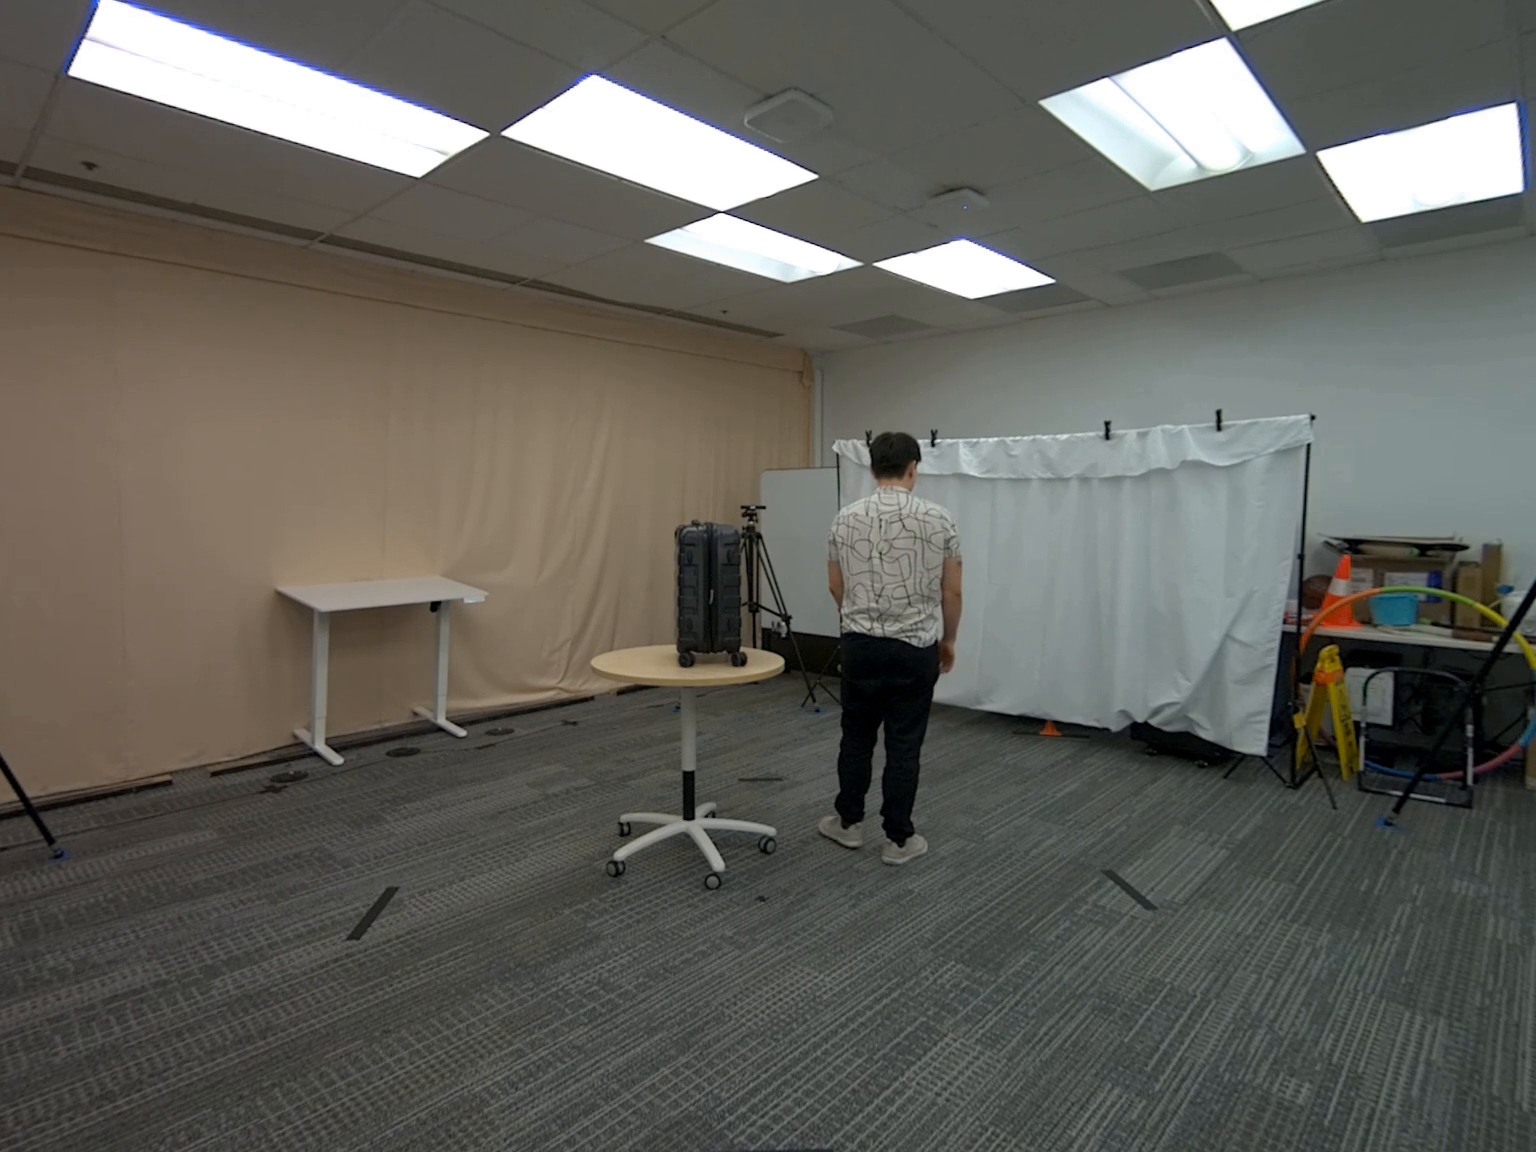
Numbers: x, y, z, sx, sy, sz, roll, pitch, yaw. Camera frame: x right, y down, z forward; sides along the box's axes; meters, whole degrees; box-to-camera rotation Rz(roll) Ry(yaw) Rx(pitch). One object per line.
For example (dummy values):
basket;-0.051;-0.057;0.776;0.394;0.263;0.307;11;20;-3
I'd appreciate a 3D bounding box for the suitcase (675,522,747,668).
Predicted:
suitcase;-0.229;0.056;3.358;0.247;0.549;0.377;-1;2;-5
